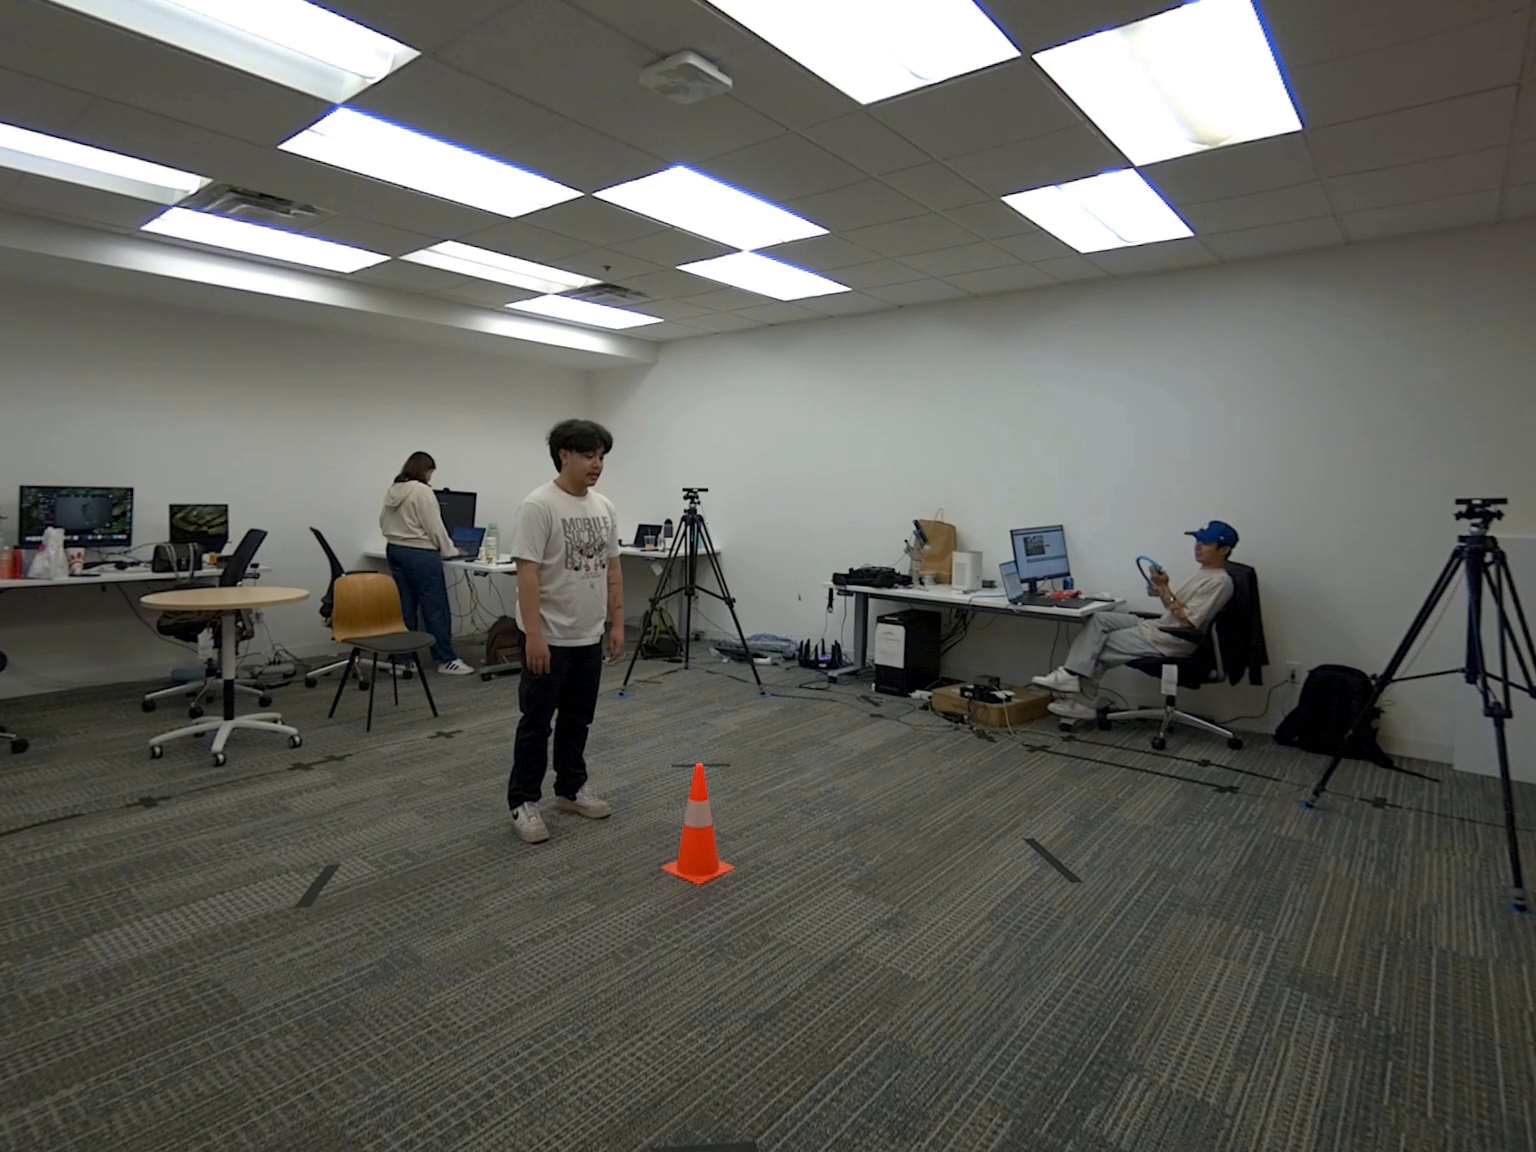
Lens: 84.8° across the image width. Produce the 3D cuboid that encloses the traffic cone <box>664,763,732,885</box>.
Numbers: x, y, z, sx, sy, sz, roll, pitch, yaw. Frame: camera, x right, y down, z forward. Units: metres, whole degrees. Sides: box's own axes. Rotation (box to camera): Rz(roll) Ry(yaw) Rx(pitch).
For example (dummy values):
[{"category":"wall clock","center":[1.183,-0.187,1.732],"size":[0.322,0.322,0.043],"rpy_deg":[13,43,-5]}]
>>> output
[{"category":"traffic cone","center":[-0.261,0.885,3.115],"size":[0.210,0.383,0.199],"rpy_deg":[3,3,35]}]
